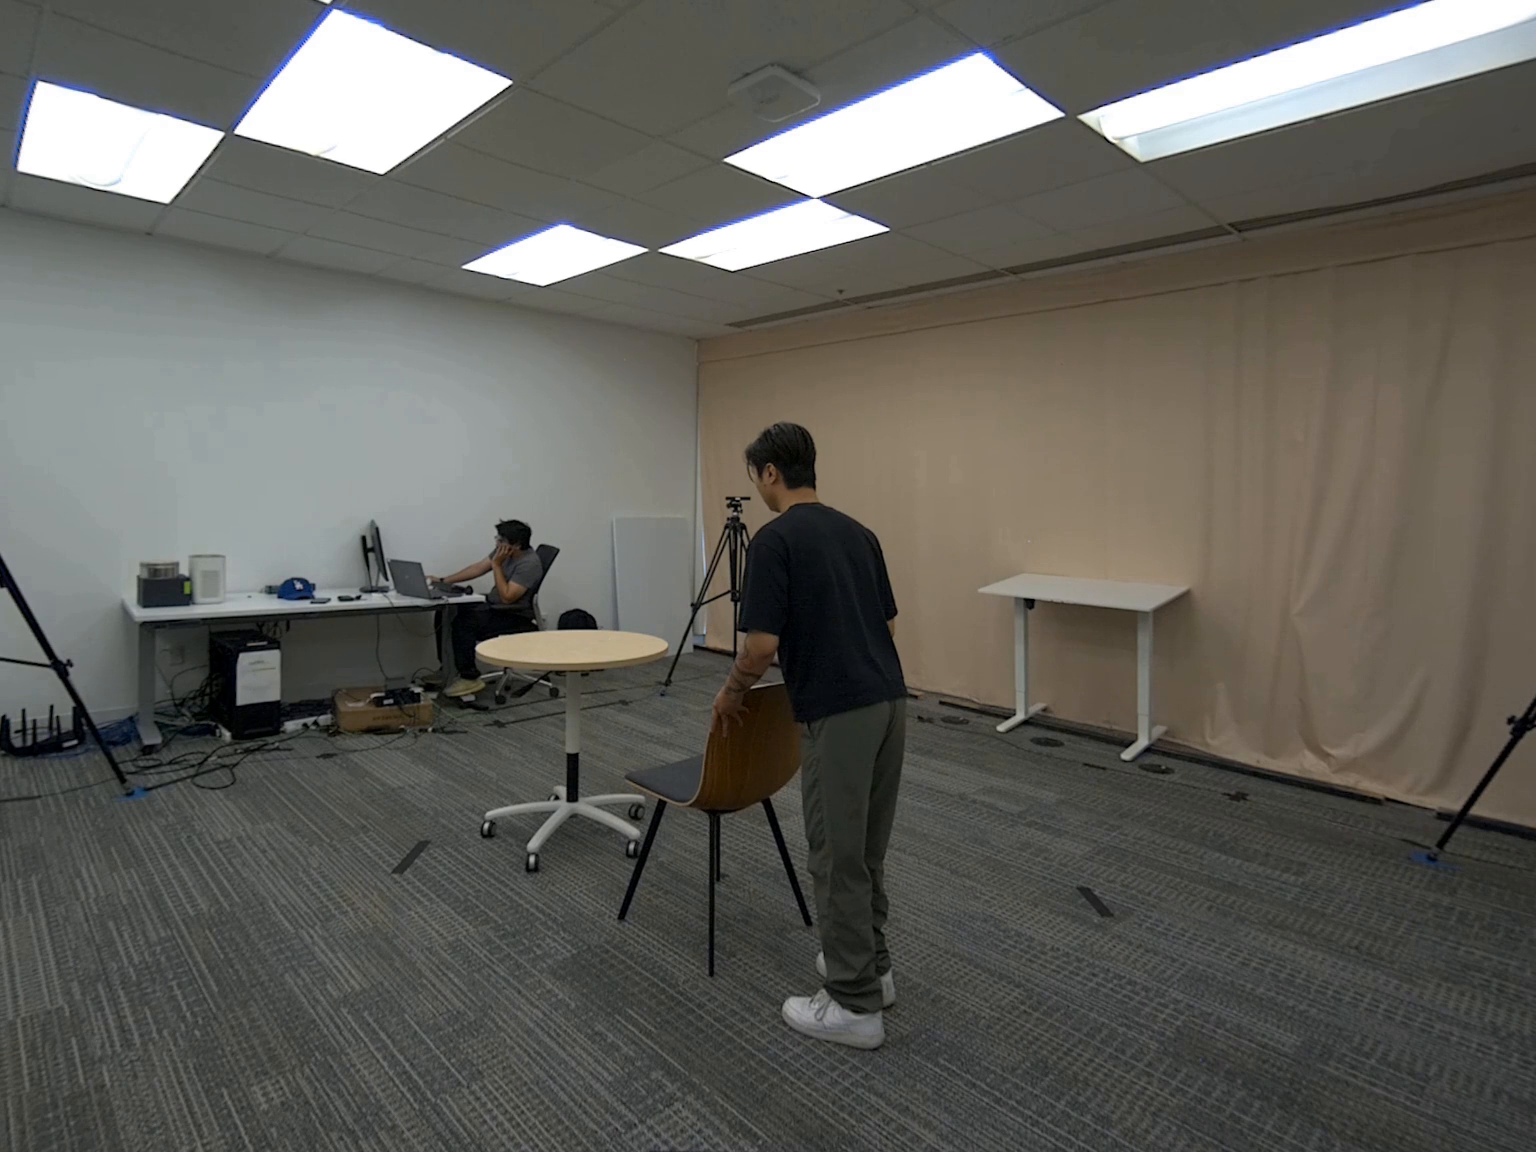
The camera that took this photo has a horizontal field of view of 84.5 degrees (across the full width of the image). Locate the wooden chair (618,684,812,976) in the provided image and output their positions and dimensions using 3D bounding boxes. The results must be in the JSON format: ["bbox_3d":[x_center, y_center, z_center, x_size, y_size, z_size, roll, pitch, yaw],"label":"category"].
[{"bbox_3d":[-0.177,0.712,2.731,0.537,0.873,0.467,11,9,44],"label":"wooden chair"}]
